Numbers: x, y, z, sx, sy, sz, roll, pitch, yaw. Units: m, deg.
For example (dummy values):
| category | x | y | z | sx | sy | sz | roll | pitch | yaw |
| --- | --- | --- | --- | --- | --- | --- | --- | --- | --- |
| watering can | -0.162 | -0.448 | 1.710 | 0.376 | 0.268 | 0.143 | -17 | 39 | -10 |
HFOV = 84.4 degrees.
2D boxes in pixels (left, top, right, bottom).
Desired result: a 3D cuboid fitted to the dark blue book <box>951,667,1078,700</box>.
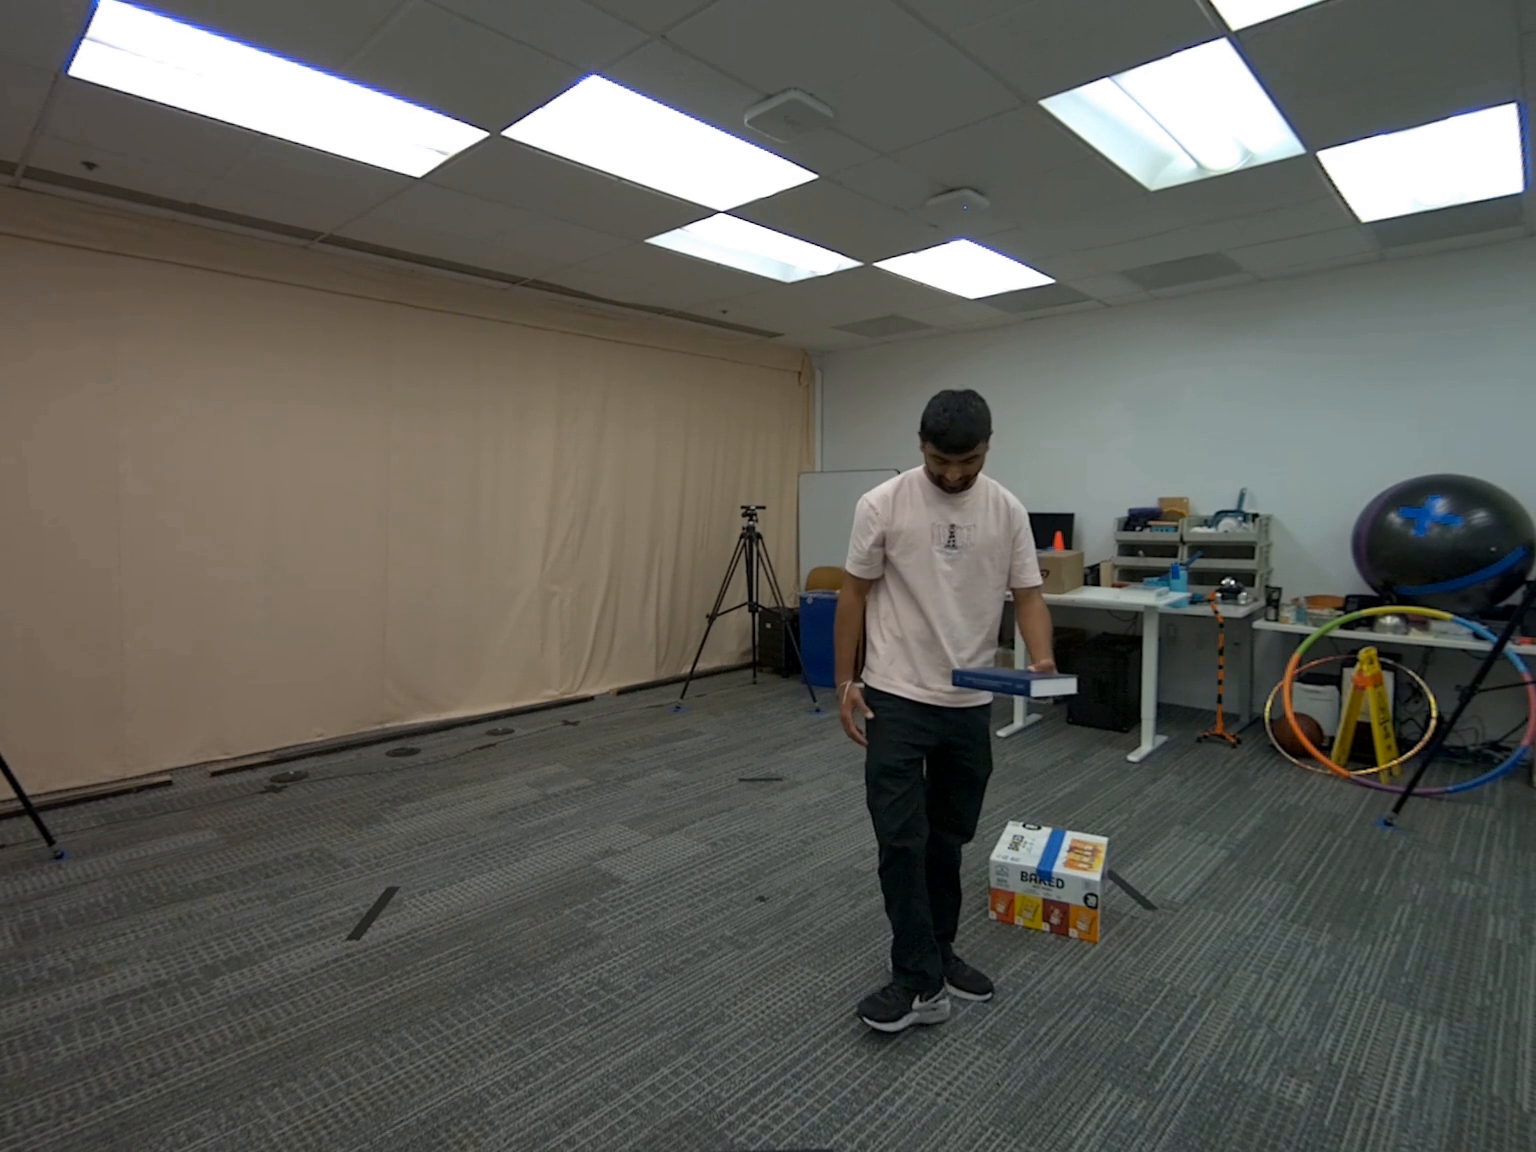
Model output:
| category | x | y | z | sx | sy | sz | roll | pitch | yaw |
| --- | --- | --- | --- | --- | --- | --- | --- | --- | --- |
| dark blue book | 0.577 | 0.255 | 2.022 | 0.159 | 0.045 | 0.252 | 2 | -1 | -31 |
